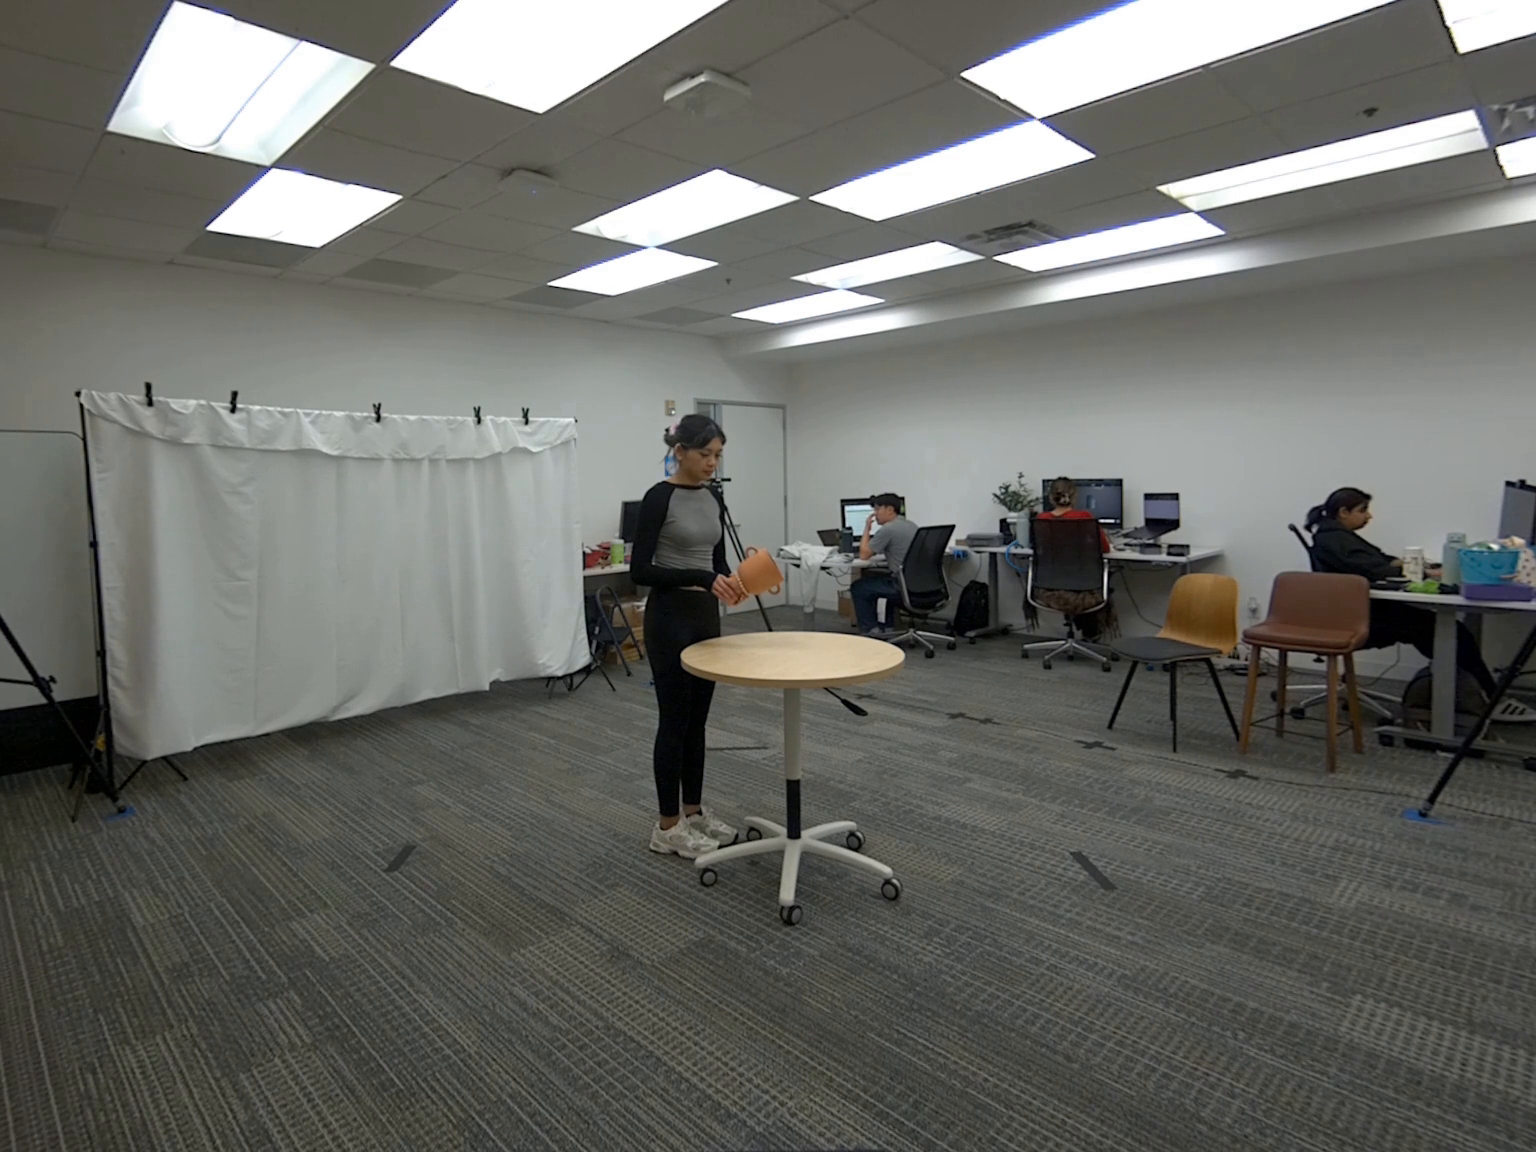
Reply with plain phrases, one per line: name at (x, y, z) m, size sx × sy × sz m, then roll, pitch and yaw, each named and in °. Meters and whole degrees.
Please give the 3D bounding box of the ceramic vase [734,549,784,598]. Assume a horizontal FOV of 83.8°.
ceramic vase at (-0.066, 0.010, 3.039) m, size 0.220 × 0.164 × 0.130 m, roll -31°, pitch -33°, yaw 6°
